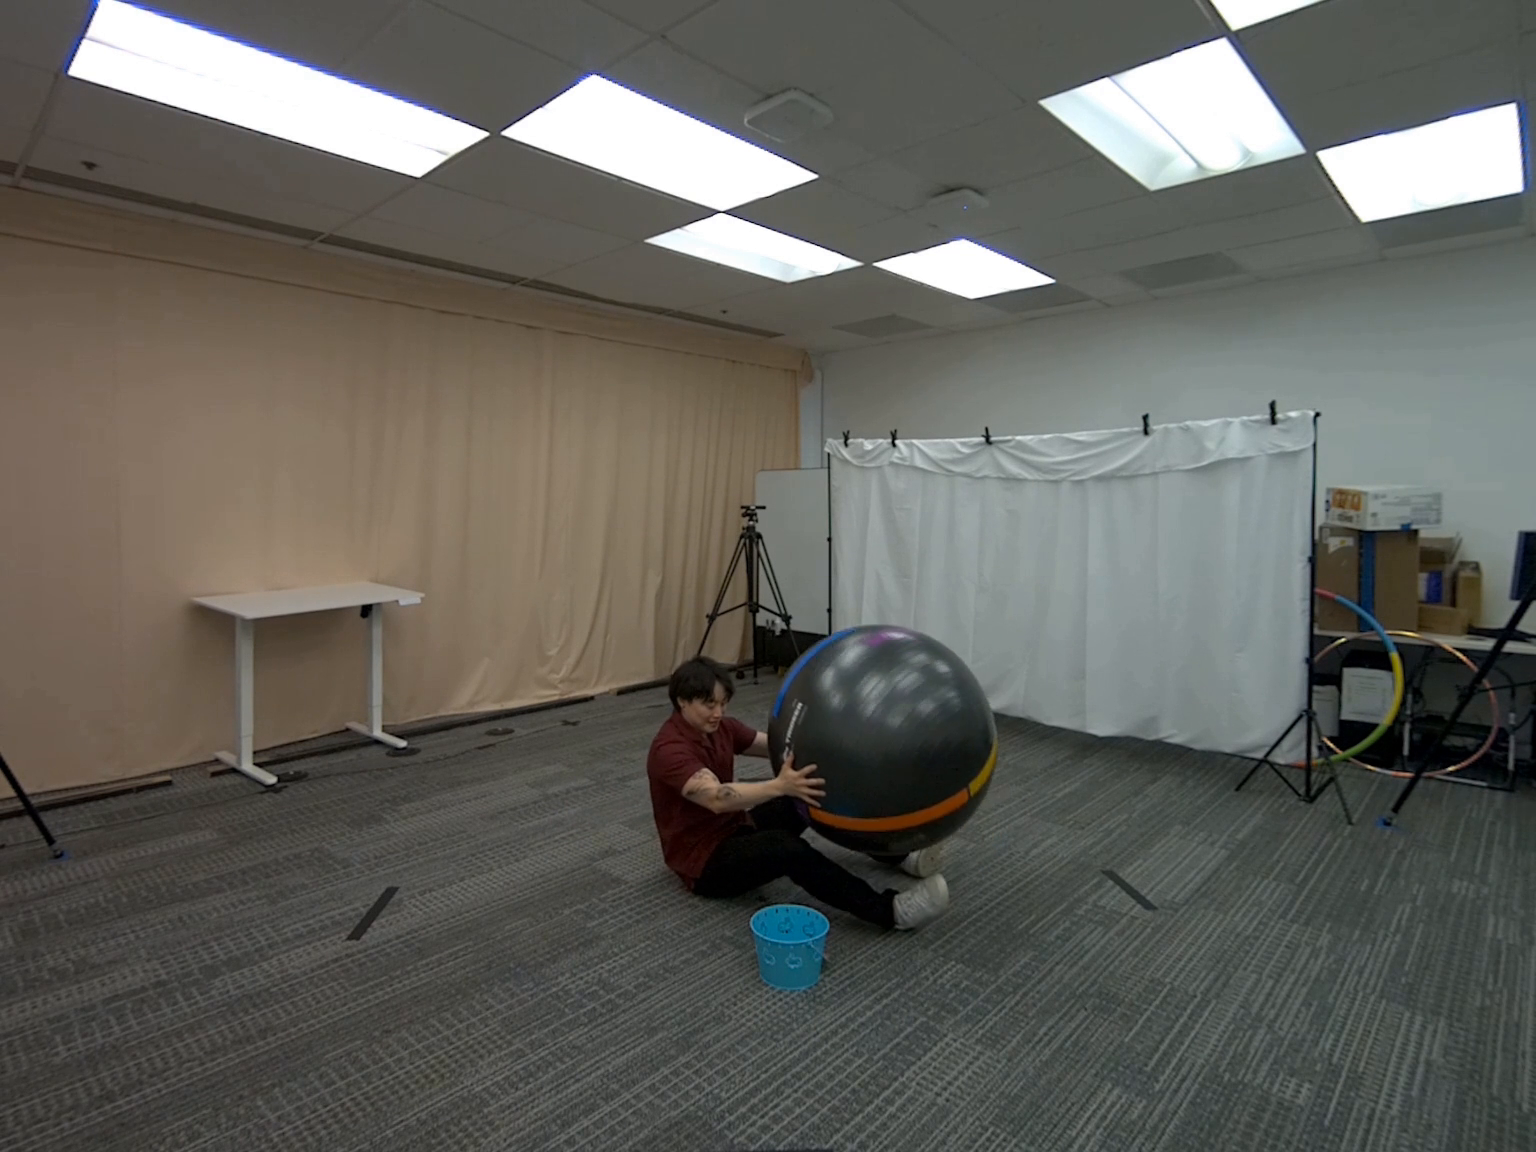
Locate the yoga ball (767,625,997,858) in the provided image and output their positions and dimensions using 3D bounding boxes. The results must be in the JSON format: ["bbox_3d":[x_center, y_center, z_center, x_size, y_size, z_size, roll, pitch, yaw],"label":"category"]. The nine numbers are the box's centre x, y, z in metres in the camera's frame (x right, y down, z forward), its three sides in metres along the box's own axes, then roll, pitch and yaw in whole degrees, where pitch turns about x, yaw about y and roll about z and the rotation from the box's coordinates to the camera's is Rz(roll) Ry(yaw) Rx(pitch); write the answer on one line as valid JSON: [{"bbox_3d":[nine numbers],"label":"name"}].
[{"bbox_3d":[0.378,0.553,2.858,0.757,0.756,0.760,0,4,-2],"label":"yoga ball"}]
